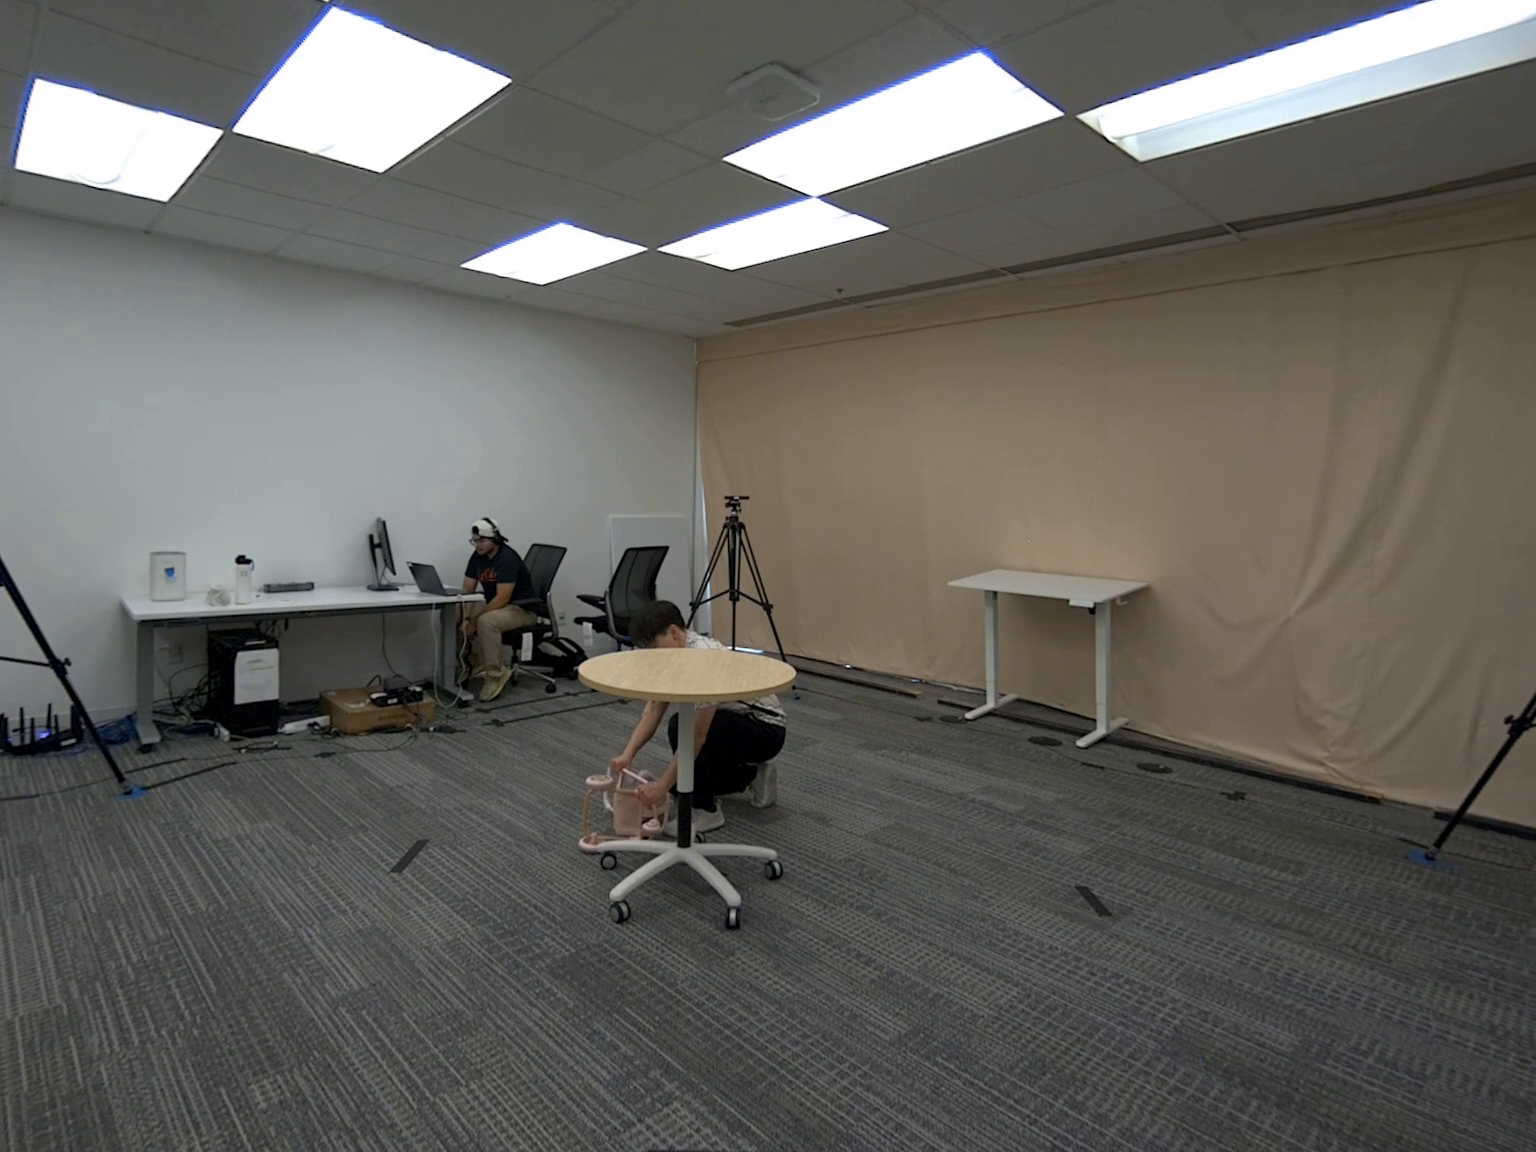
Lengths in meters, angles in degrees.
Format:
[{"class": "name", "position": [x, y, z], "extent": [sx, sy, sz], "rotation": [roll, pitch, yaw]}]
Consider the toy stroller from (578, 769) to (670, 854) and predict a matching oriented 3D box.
[{"class": "toy stroller", "position": [-0.560, 0.928, 3.437], "extent": [0.343, 0.281, 0.532], "rotation": [3, 1, 5]}]
